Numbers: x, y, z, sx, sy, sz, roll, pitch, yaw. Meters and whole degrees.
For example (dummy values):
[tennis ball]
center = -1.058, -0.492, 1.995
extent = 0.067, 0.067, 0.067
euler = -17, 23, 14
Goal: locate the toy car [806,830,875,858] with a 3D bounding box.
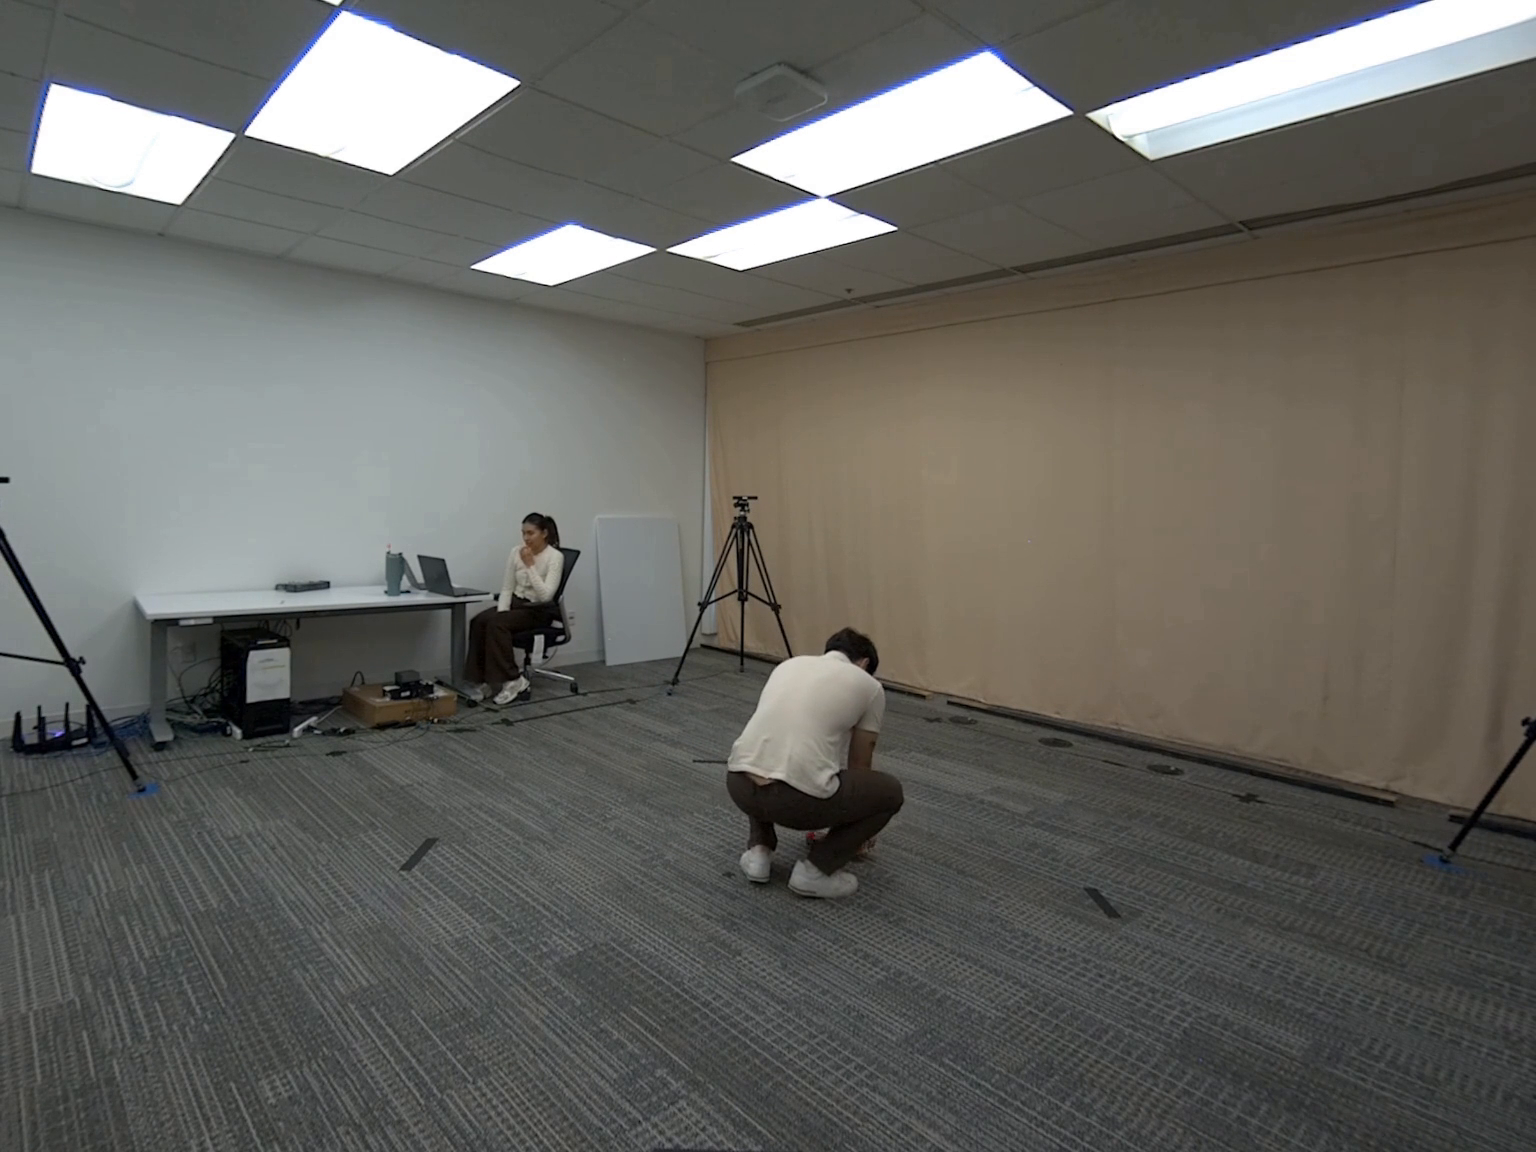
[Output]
[toy car]
center = 0.275, 1.065, 3.345
extent = 0.259, 0.083, 0.127
euler = -6, -3, 35
